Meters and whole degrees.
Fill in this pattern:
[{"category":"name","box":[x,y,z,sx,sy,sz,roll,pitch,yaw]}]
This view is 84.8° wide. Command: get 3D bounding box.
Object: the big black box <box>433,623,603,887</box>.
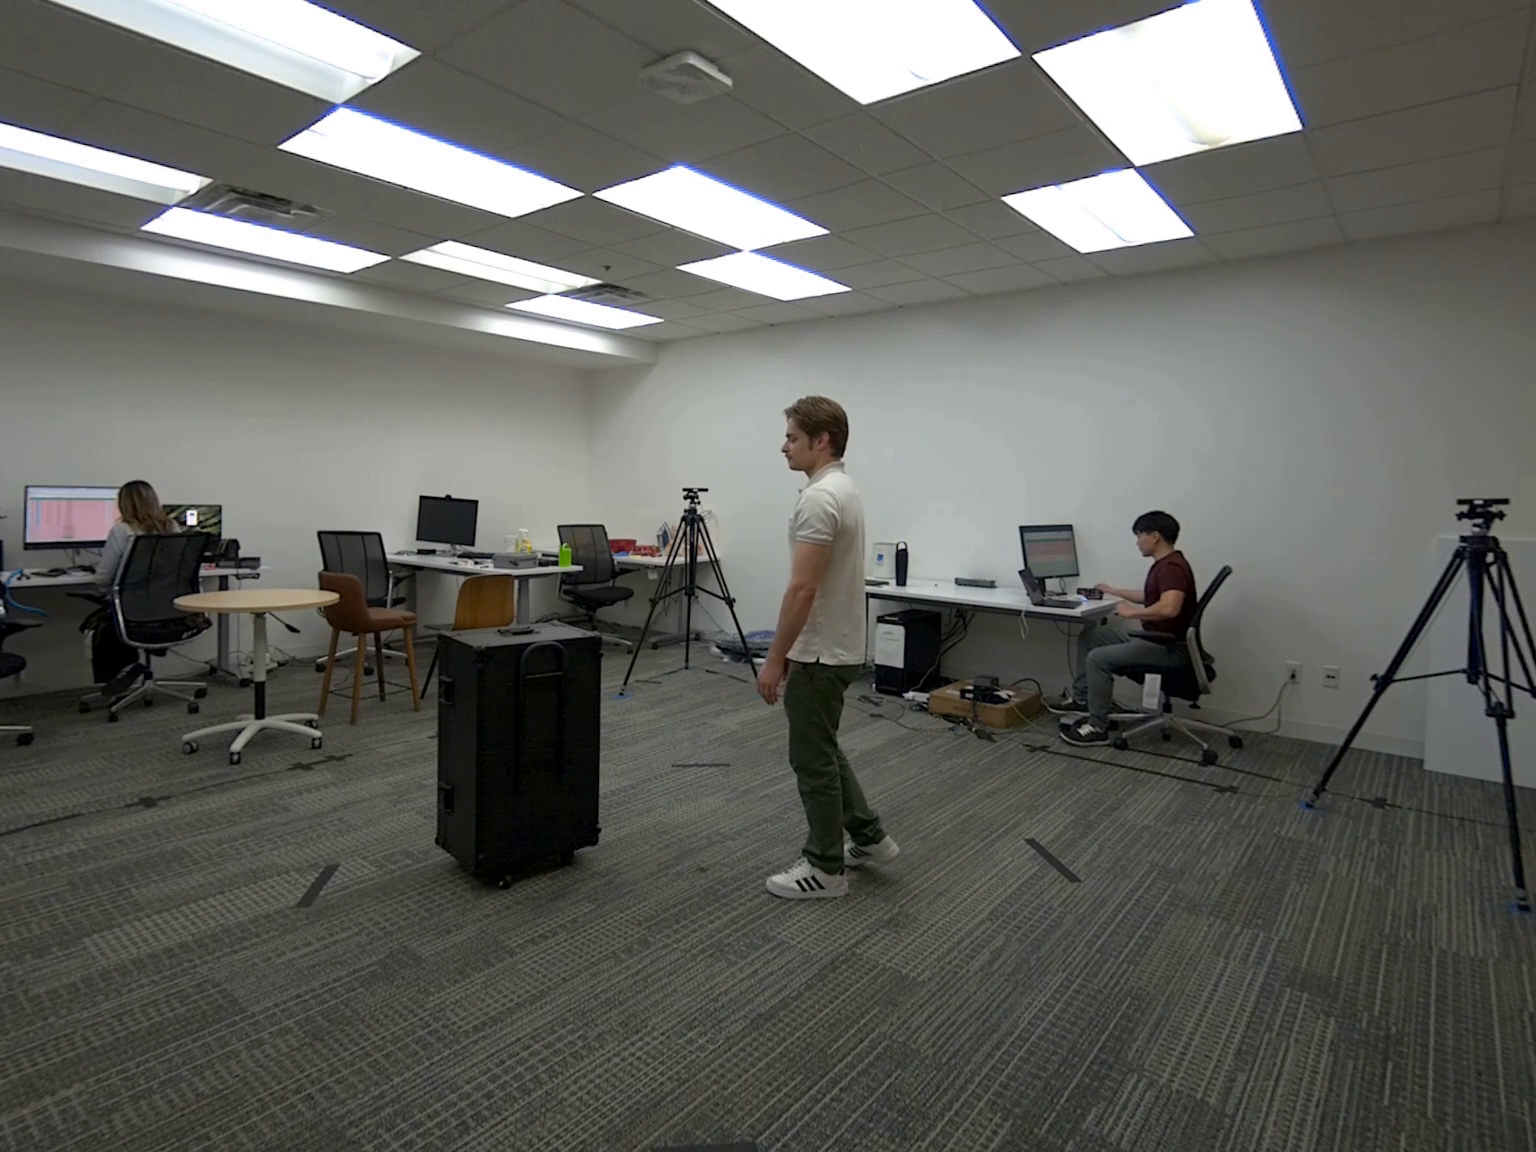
[{"category":"big black box","box":[-0.922,0.635,3.123,0.507,0.866,0.398,-1,5,-40]}]
